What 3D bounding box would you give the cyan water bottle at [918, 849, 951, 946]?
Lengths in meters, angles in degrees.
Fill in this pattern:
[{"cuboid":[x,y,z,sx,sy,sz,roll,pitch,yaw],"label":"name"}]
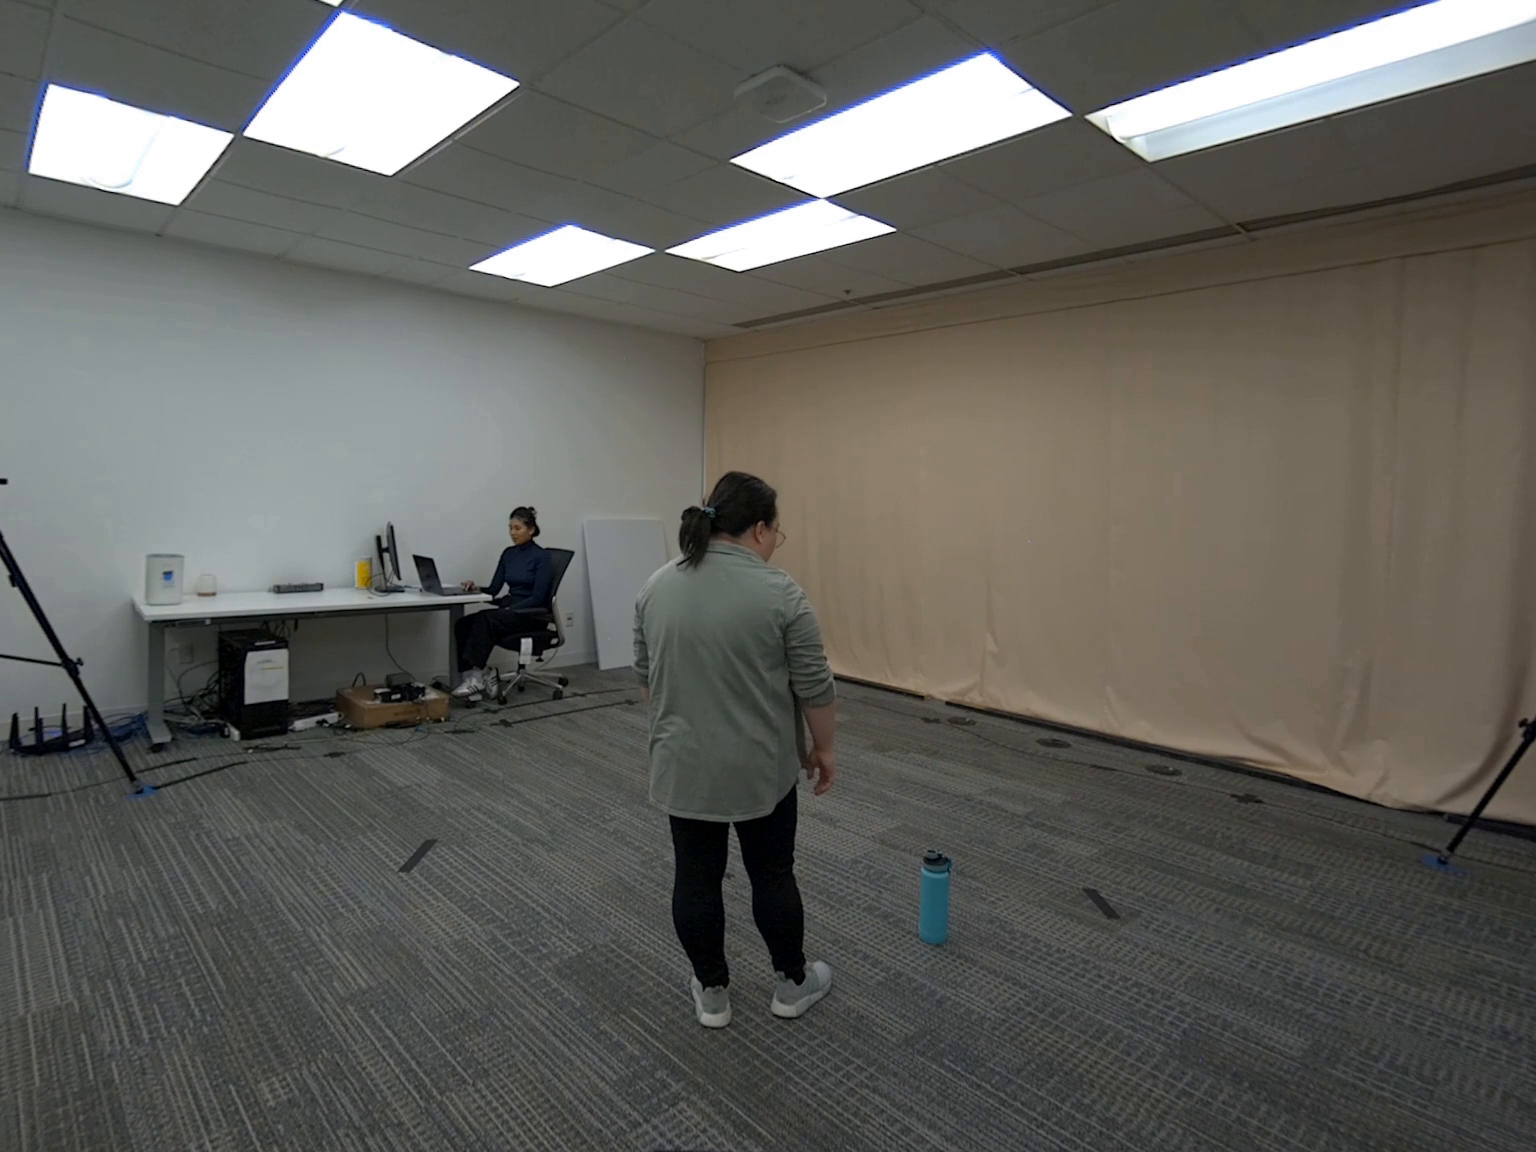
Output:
[{"cuboid":[0.531,1.023,2.690,0.092,0.283,0.092,2,4,-2],"label":"cyan water bottle"}]
